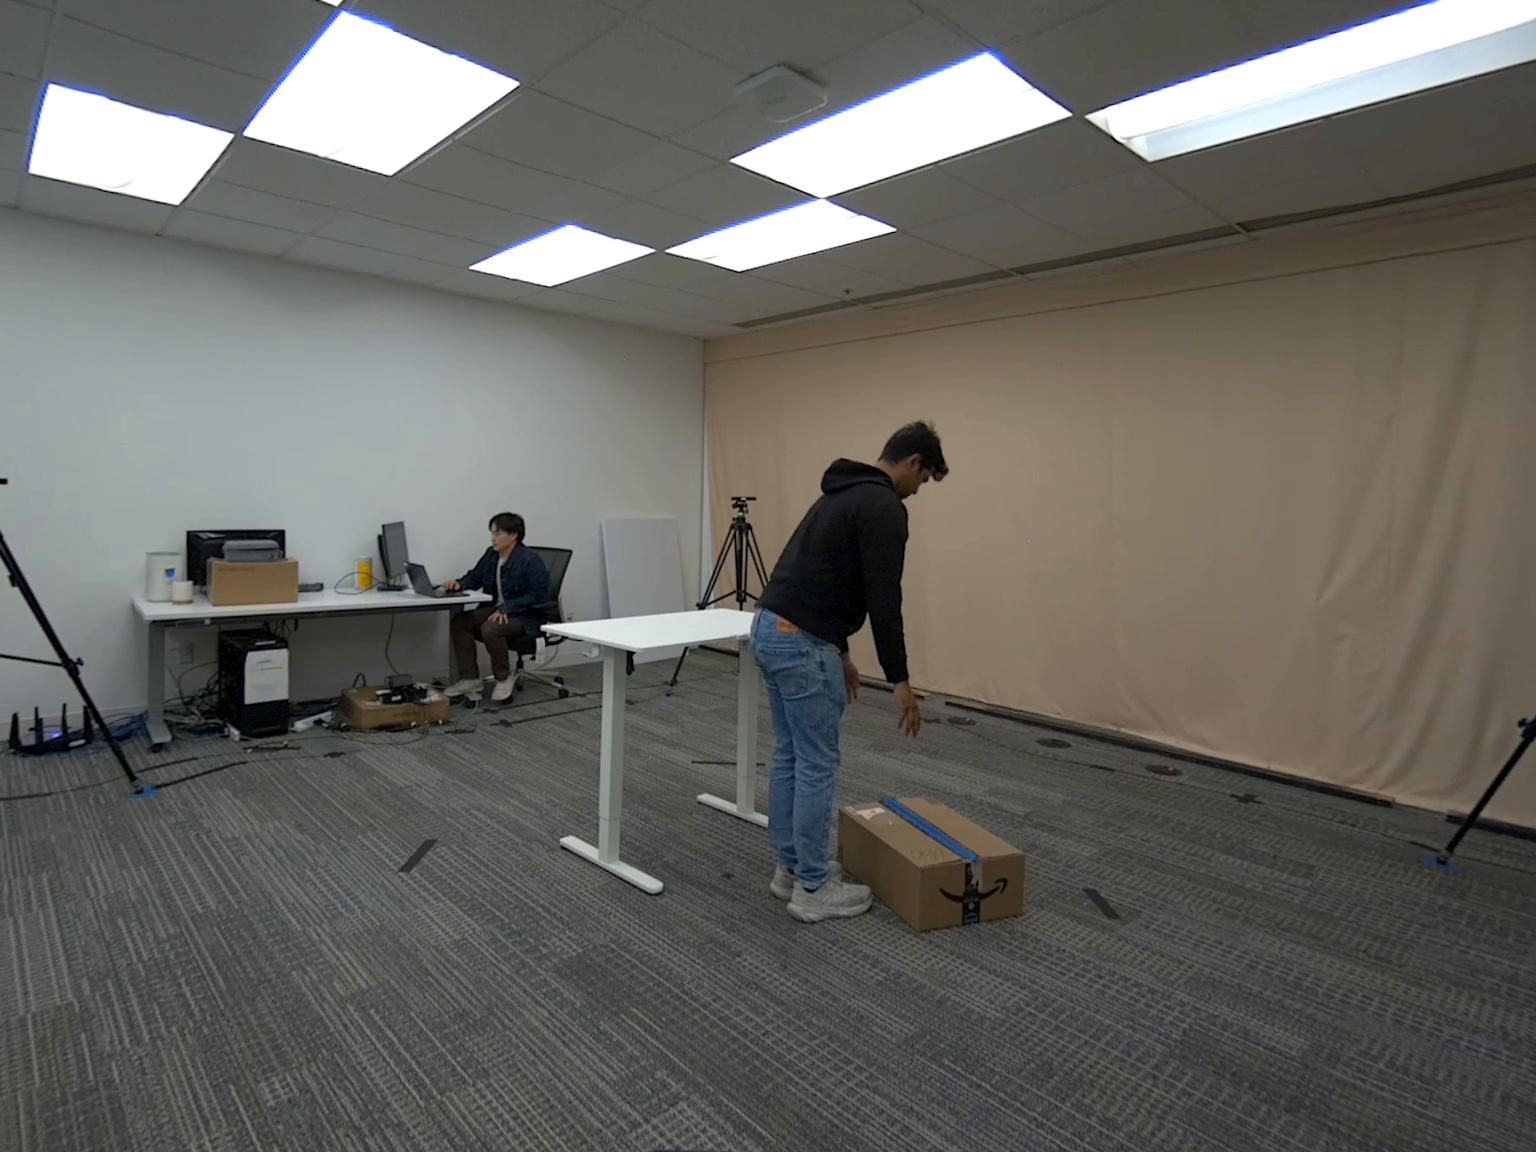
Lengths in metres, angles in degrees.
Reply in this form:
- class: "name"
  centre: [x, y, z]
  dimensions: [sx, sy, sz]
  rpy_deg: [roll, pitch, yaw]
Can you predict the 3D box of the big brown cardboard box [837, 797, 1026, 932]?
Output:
- class: "big brown cardboard box"
  centre: [0.557, 1.017, 3.054]
  dimensions: [0.411, 0.232, 0.600]
  rpy_deg: [0, 6, -22]
